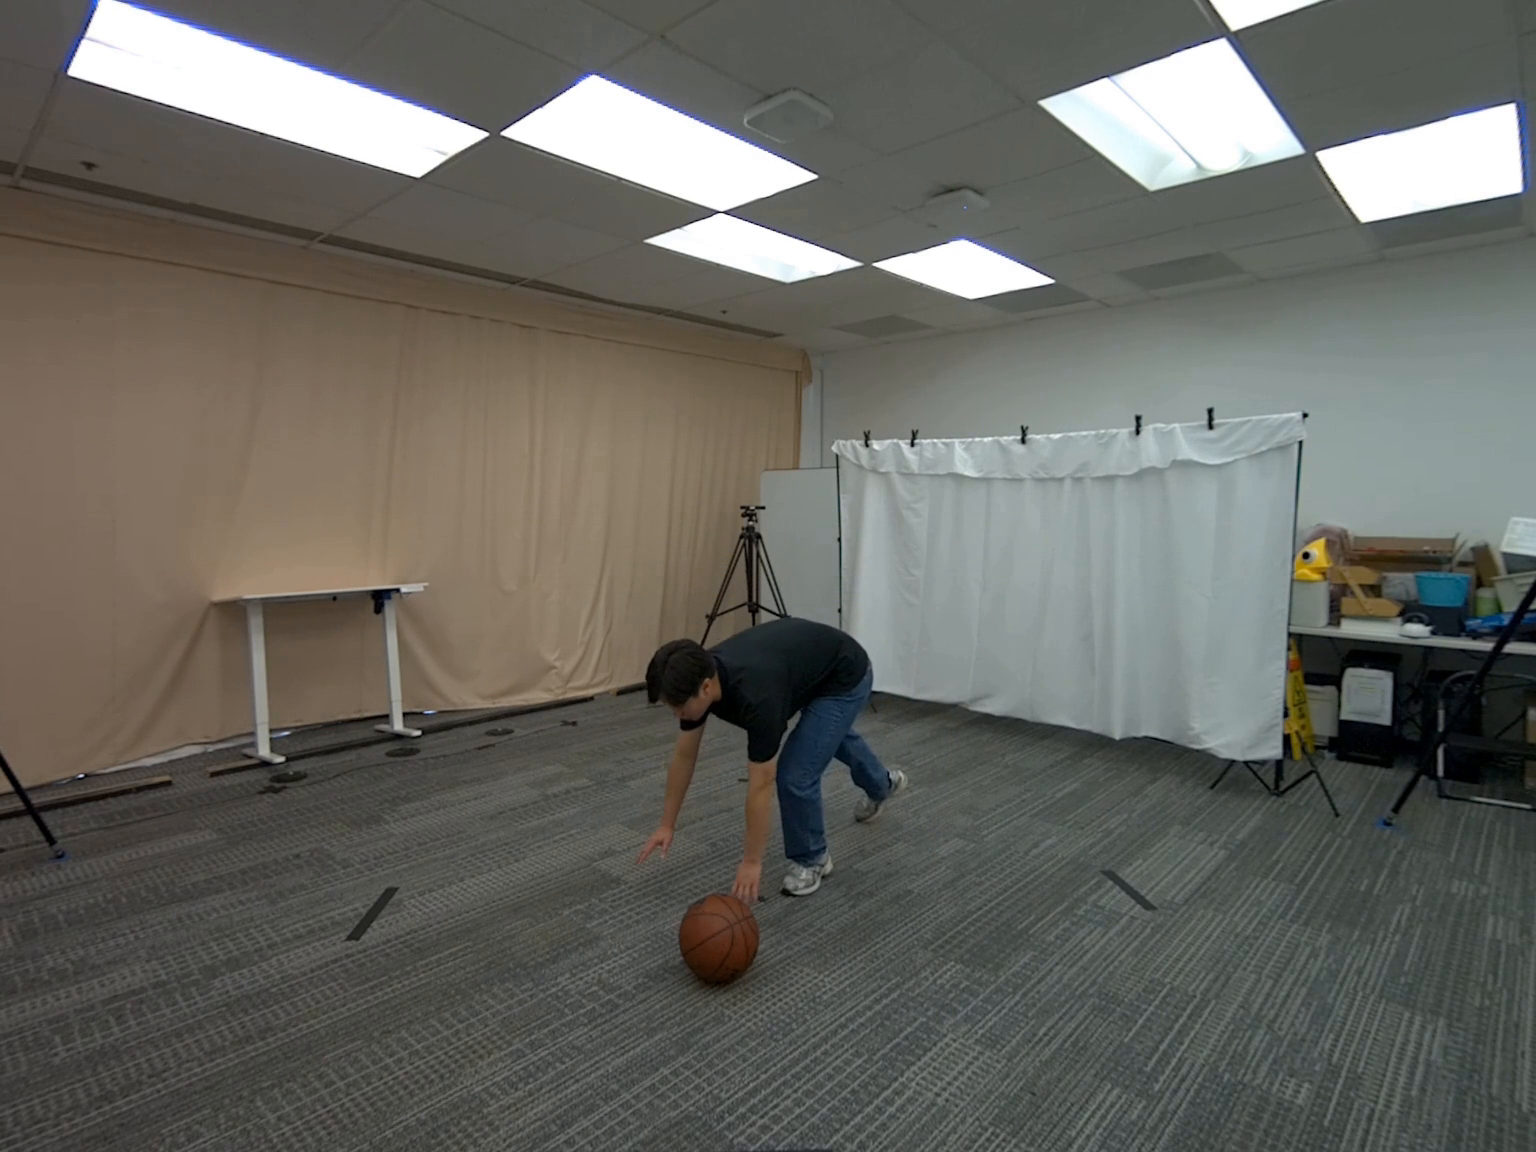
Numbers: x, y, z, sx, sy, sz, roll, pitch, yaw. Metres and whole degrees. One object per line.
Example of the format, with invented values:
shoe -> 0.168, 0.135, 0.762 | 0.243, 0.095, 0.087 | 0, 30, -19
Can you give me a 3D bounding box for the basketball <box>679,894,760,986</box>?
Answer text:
basketball -> -0.145, 1.064, 2.481 | 0.236, 0.235, 0.237 | 0, 4, -2
